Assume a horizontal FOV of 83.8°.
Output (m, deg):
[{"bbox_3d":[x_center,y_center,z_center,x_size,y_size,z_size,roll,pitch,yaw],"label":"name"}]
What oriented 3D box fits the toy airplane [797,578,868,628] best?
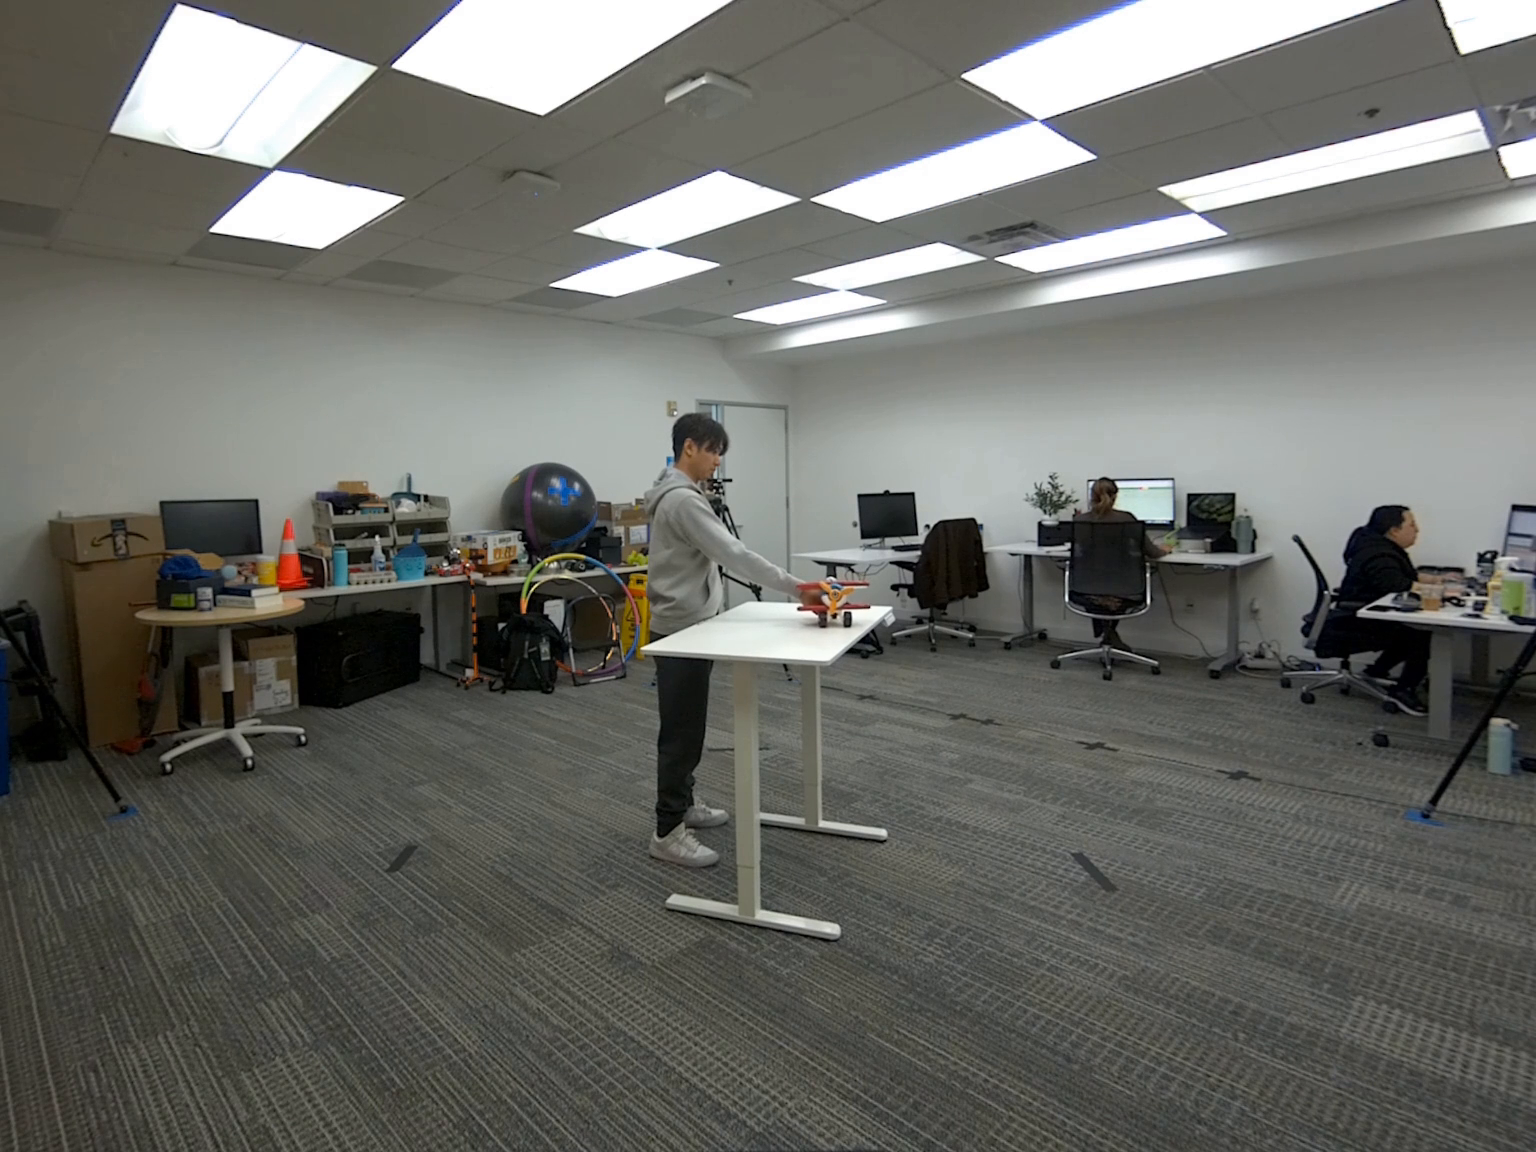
[{"bbox_3d":[0.209,0.088,3.017,0.246,0.155,0.266,-6,9,-26],"label":"toy airplane"}]
